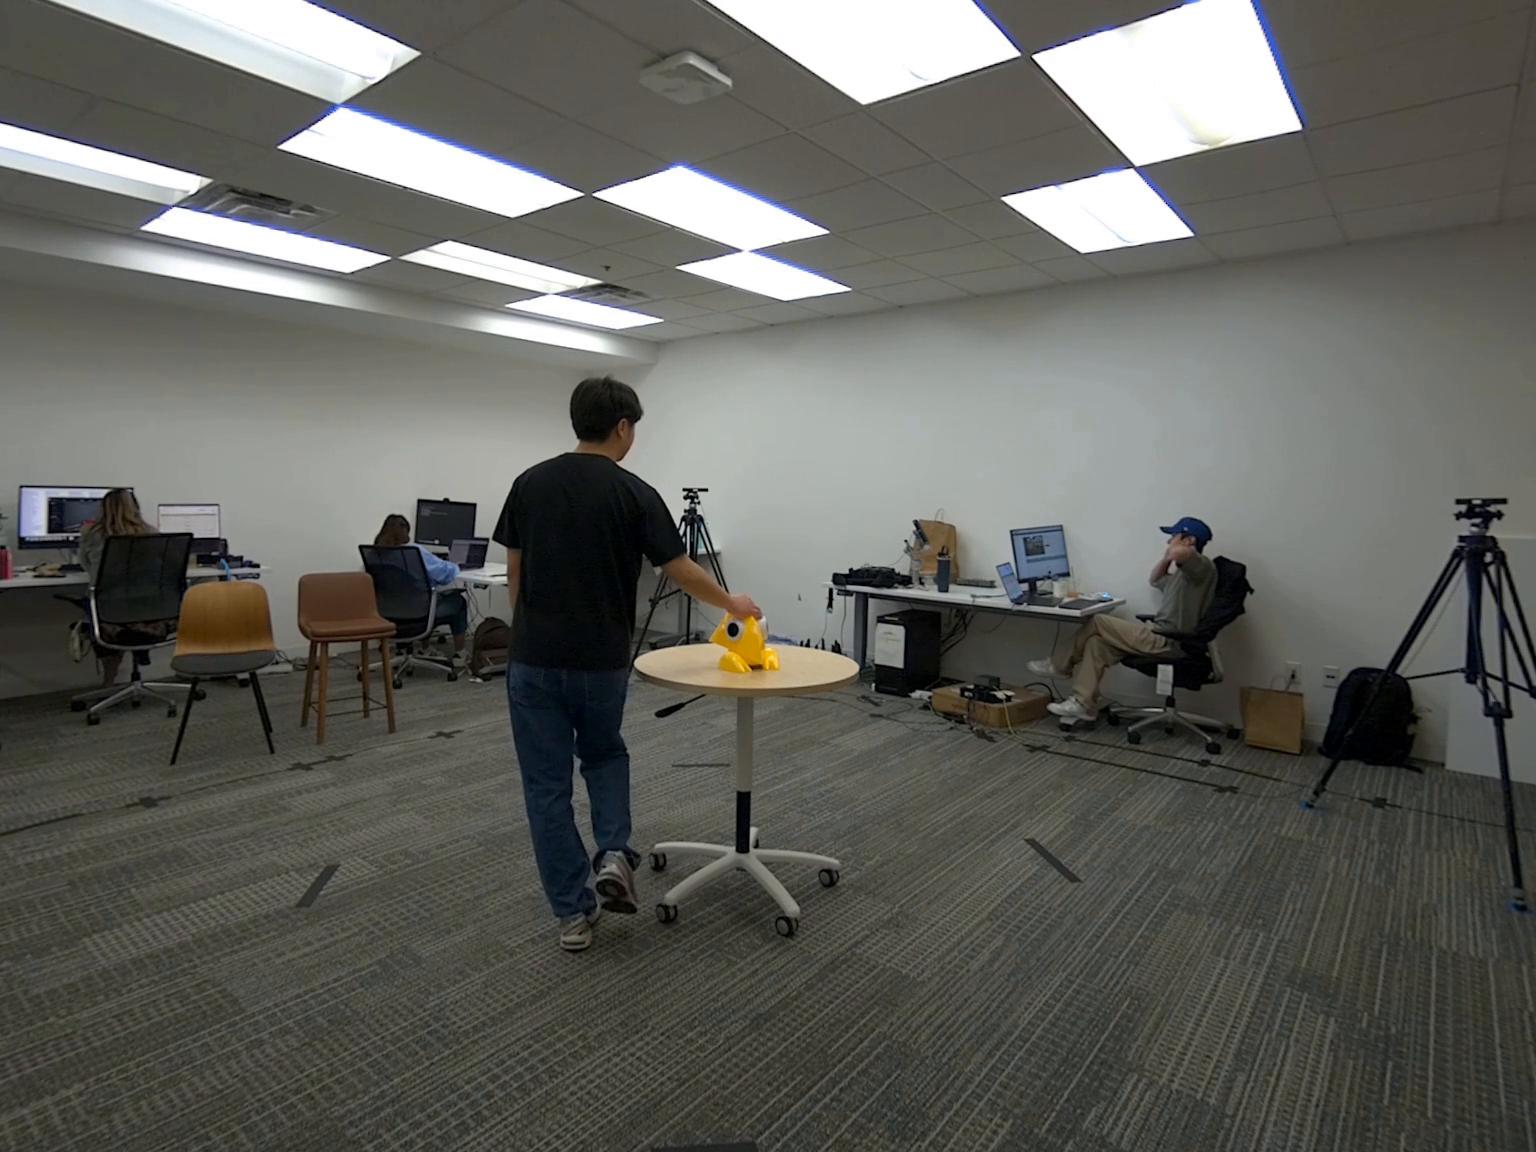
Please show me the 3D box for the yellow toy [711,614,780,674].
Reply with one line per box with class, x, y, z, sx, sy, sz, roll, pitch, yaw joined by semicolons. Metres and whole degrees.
yellow toy;-0.074;0.190;2.845;0.199;0.230;0.199;-1;5;-30
